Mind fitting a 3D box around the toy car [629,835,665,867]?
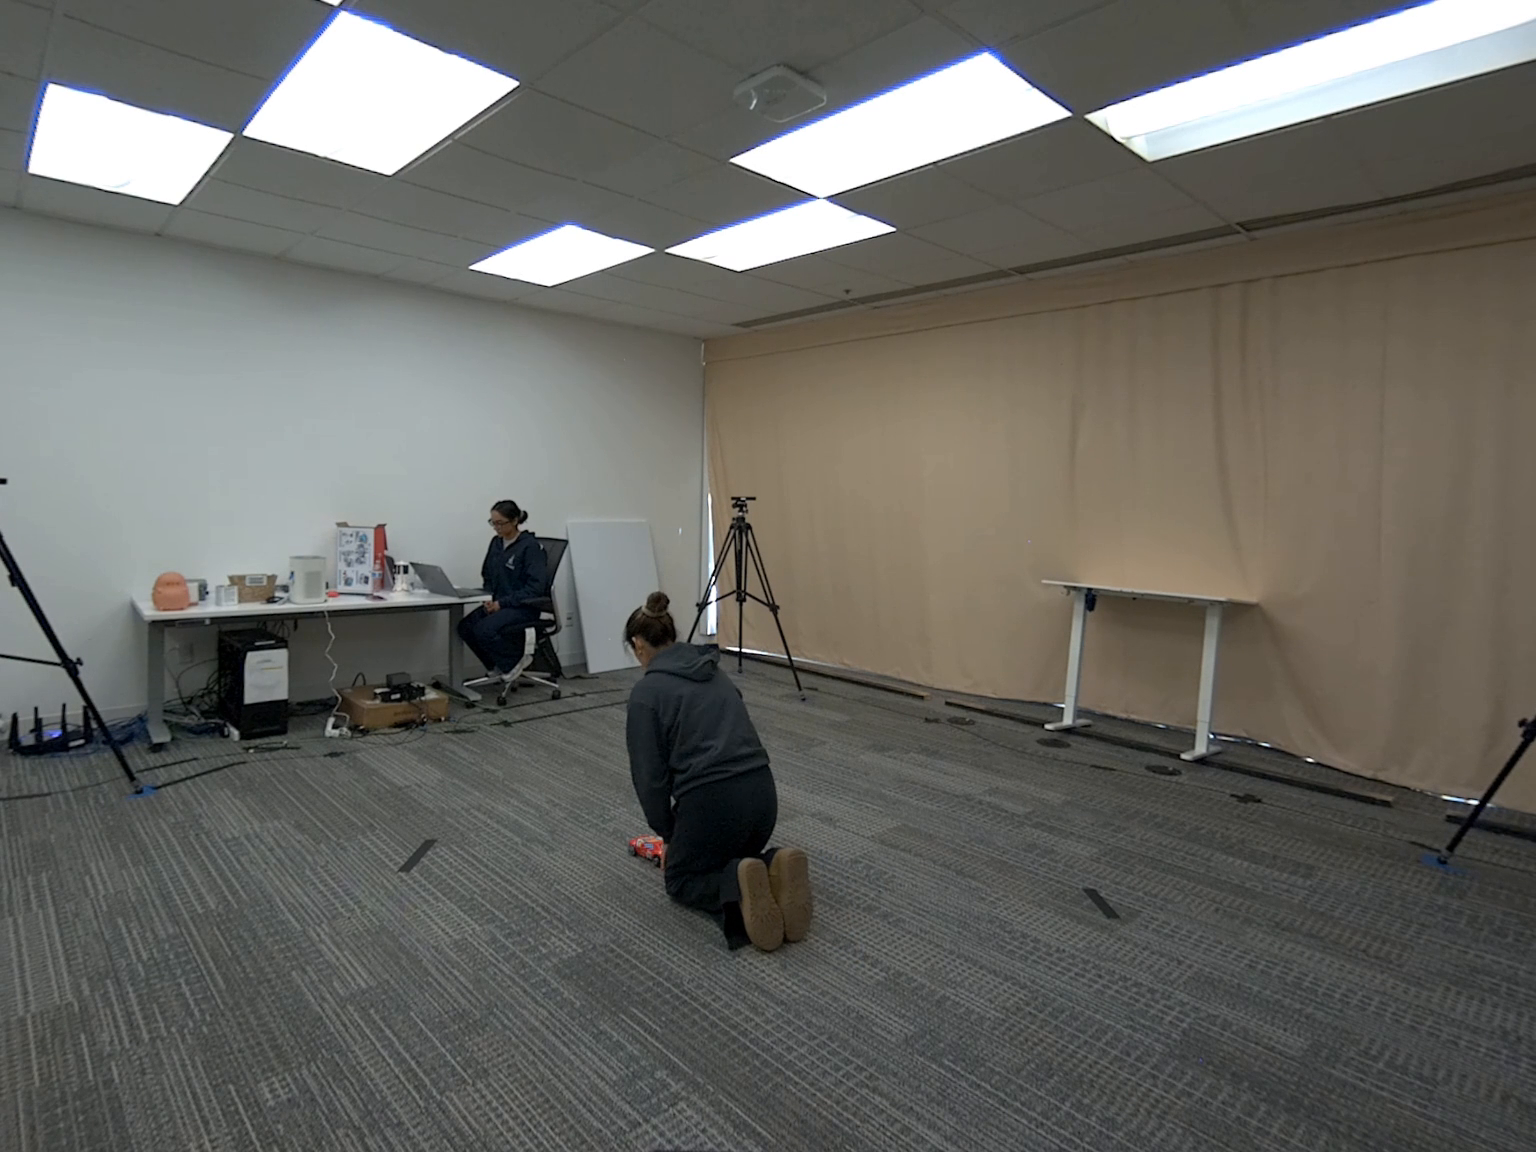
[{"bbox_3d":[-0.428,1.055,3.247,0.259,0.083,0.127,-8,-3,41],"label":"toy car"}]
